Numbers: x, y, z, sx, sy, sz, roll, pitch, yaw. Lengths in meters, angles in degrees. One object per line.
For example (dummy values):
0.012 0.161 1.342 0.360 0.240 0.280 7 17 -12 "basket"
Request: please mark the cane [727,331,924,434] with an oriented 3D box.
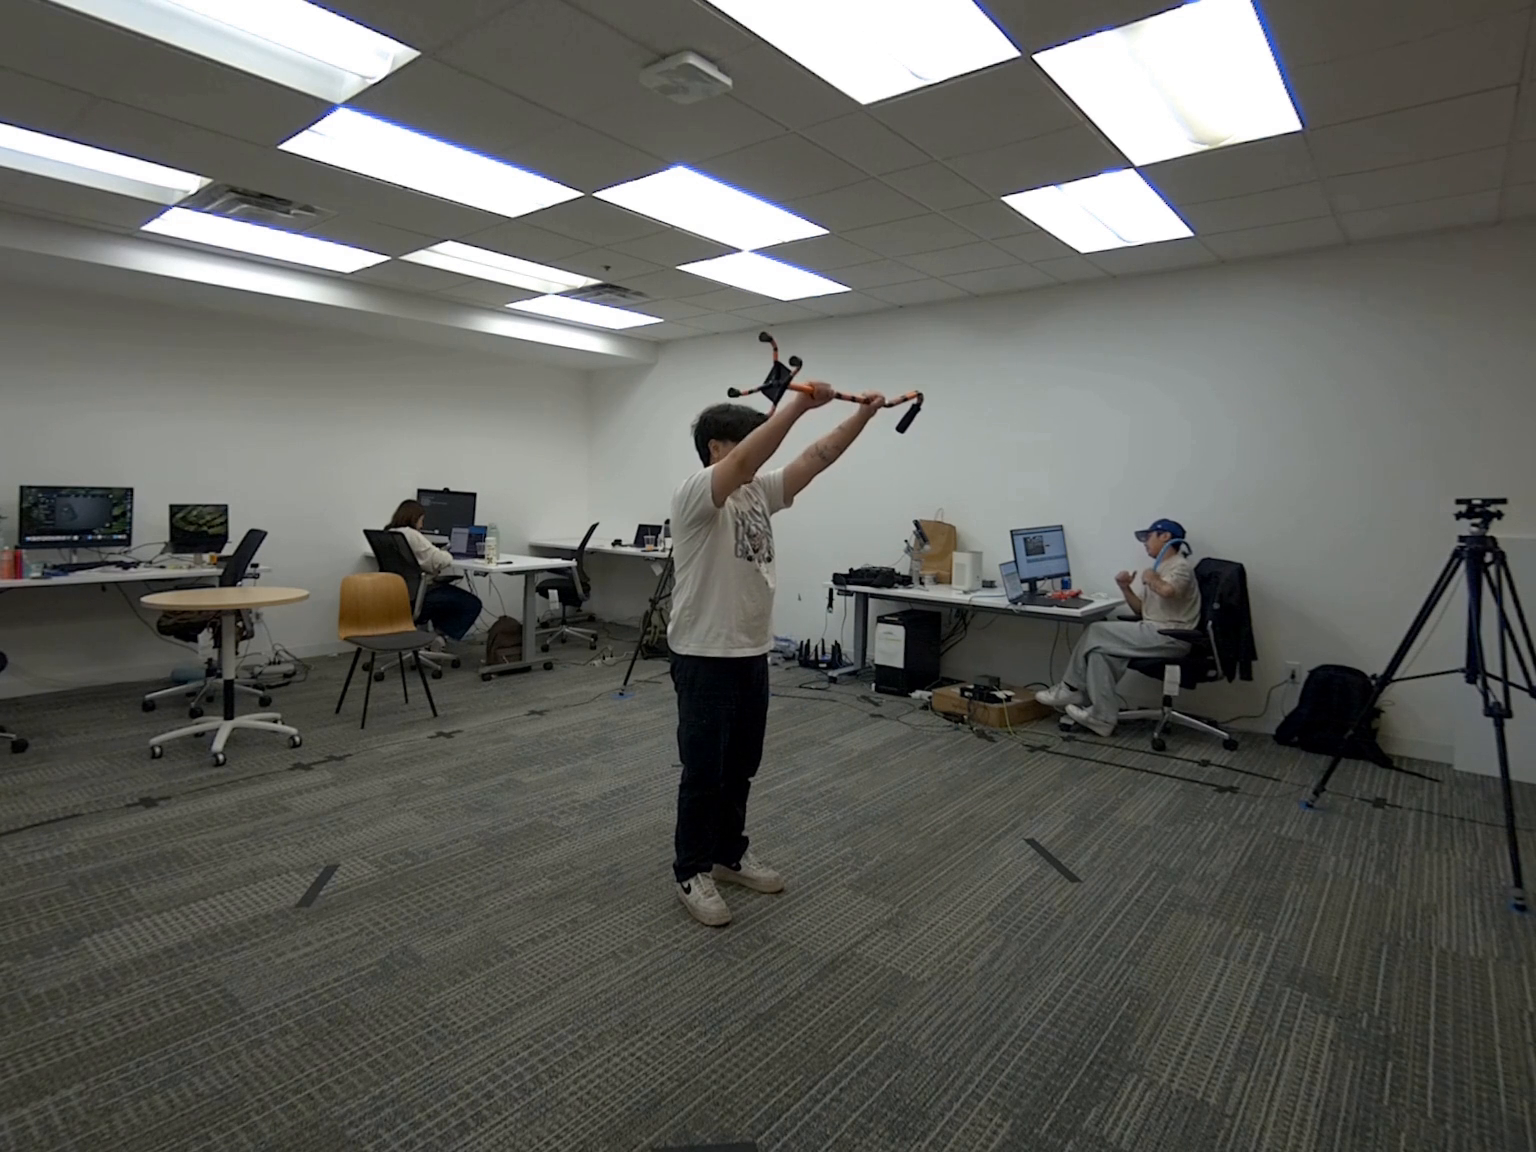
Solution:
0.230 -0.556 2.626 0.157 0.205 0.882 46 27 24 "cane"
